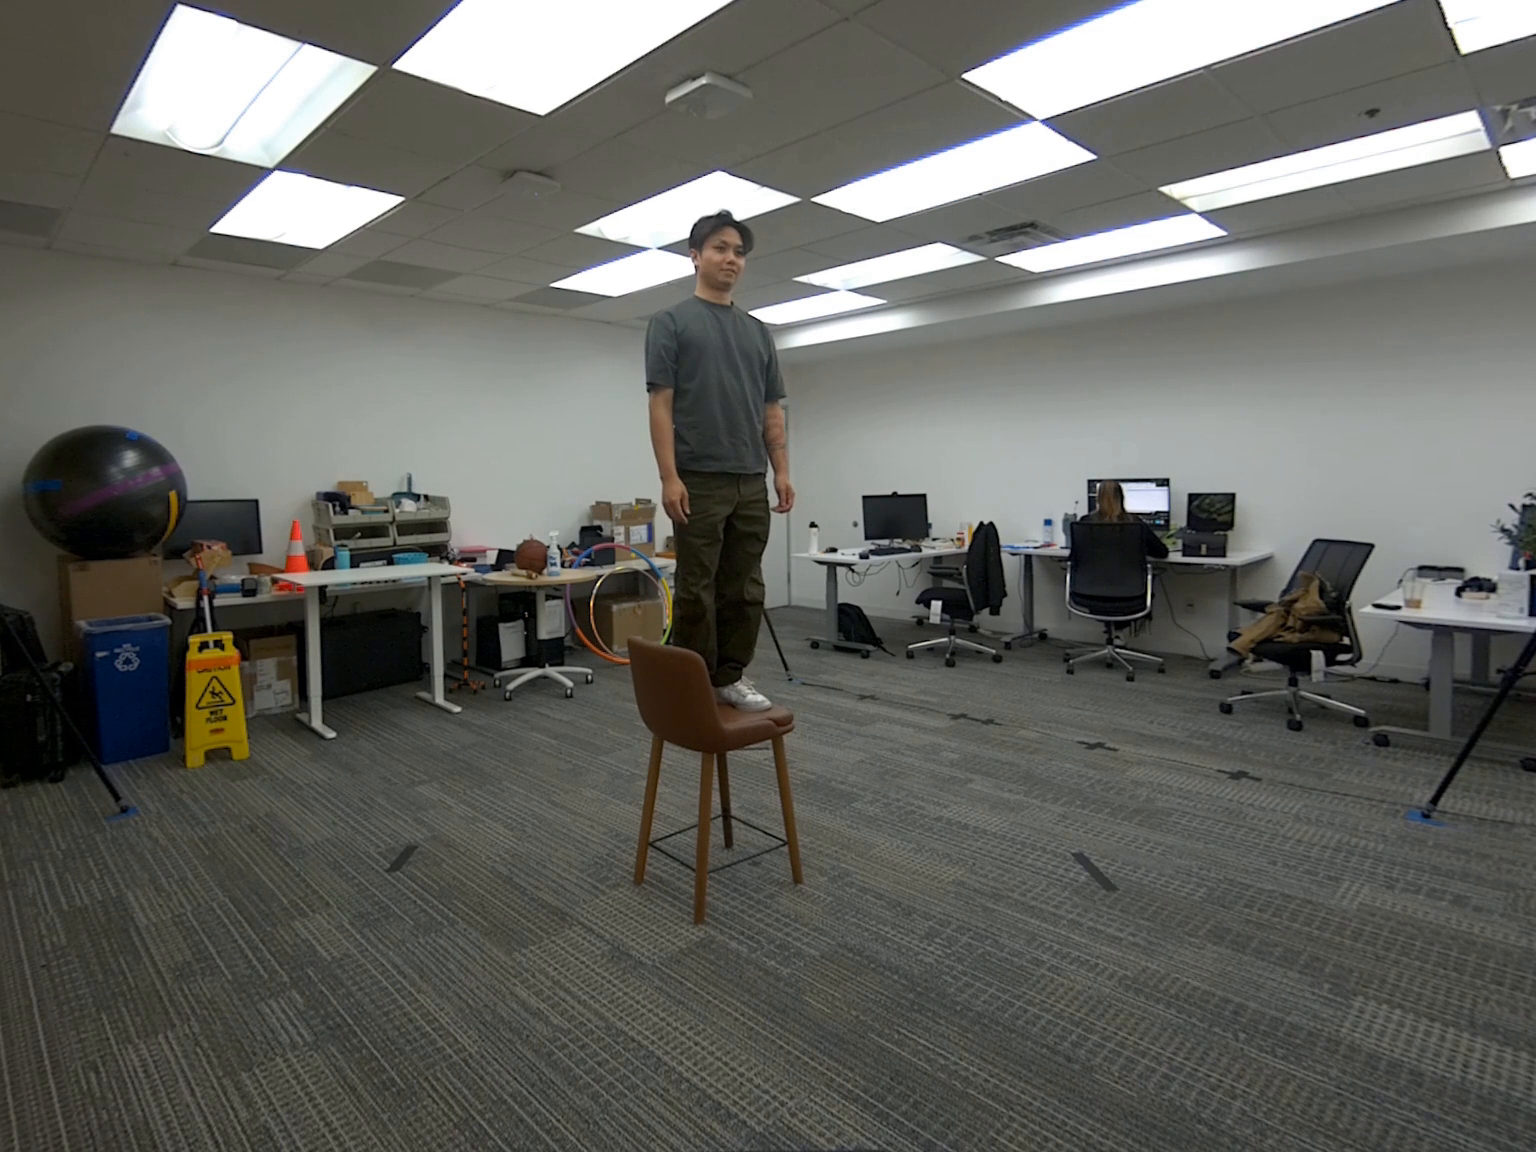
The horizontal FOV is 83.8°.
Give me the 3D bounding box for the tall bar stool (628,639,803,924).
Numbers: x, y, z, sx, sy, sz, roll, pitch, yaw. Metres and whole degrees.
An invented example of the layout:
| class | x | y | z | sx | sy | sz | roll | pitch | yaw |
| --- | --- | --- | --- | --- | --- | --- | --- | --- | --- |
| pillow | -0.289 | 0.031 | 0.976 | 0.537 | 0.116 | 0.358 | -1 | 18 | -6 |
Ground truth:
| class | x | y | z | sx | sy | sz | roll | pitch | yaw |
| --- | --- | --- | --- | --- | --- | --- | --- | --- | --- |
| tall bar stool | -0.188 | 0.630 | 2.936 | 0.456 | 0.885 | 0.470 | -7 | 7 | -40 |
